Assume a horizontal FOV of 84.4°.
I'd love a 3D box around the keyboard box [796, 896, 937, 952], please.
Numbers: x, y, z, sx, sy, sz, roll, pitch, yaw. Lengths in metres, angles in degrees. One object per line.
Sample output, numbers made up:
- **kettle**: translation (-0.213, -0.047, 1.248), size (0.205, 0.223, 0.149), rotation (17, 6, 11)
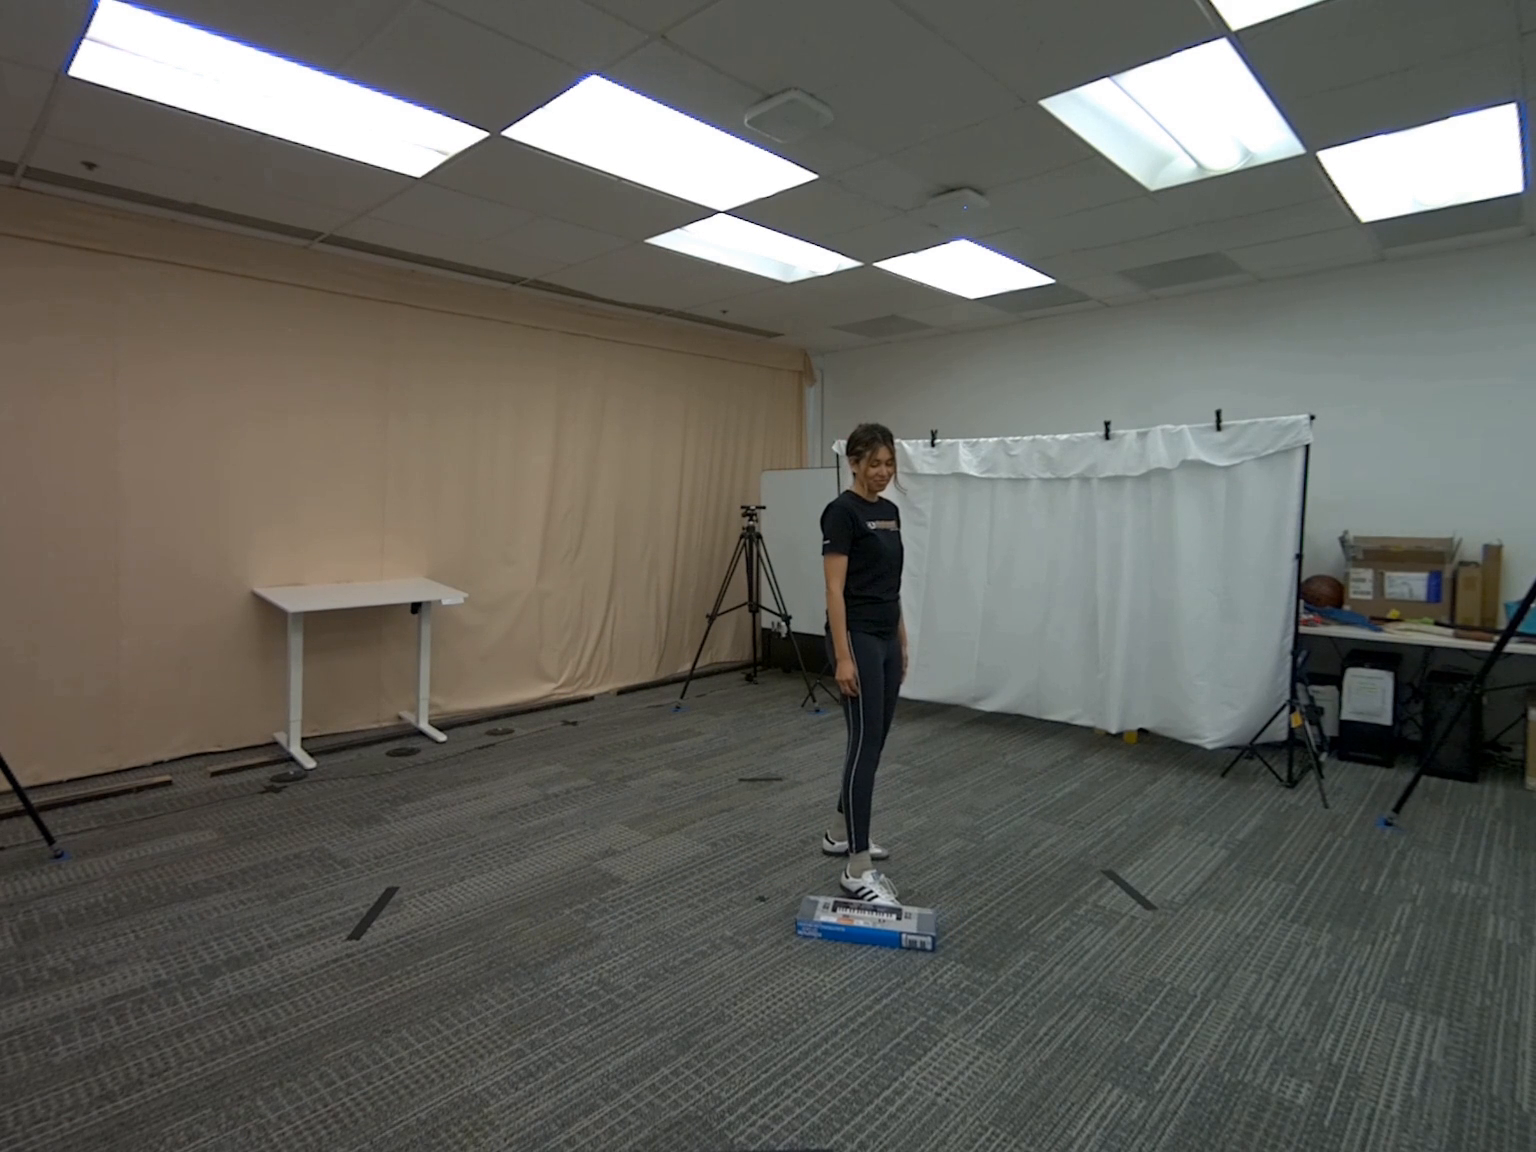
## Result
- **keyboard box**: translation (0.331, 1.134, 2.751), size (0.444, 0.059, 0.173), rotation (1, 6, 15)
